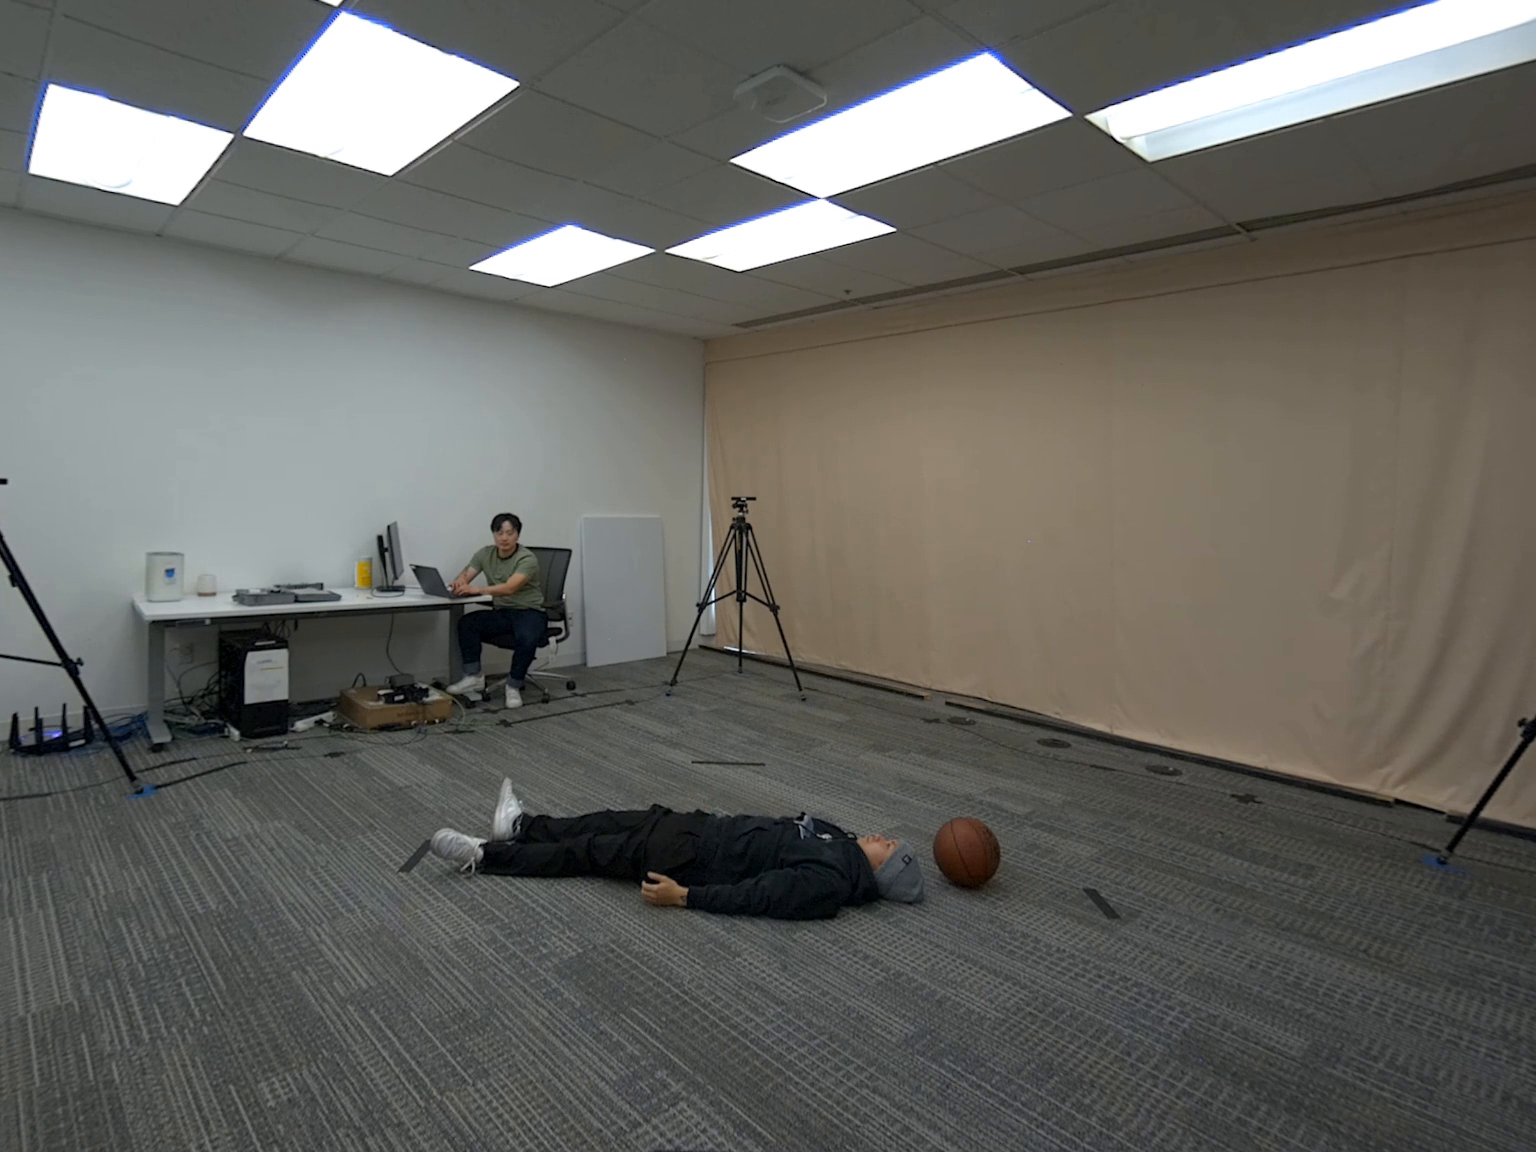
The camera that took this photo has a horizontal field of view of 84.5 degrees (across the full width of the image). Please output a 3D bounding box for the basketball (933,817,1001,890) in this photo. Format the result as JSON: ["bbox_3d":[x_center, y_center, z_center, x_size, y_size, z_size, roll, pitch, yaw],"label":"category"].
[{"bbox_3d":[0.719,1.009,3.094,0.236,0.235,0.237,1,4,-1],"label":"basketball"}]
